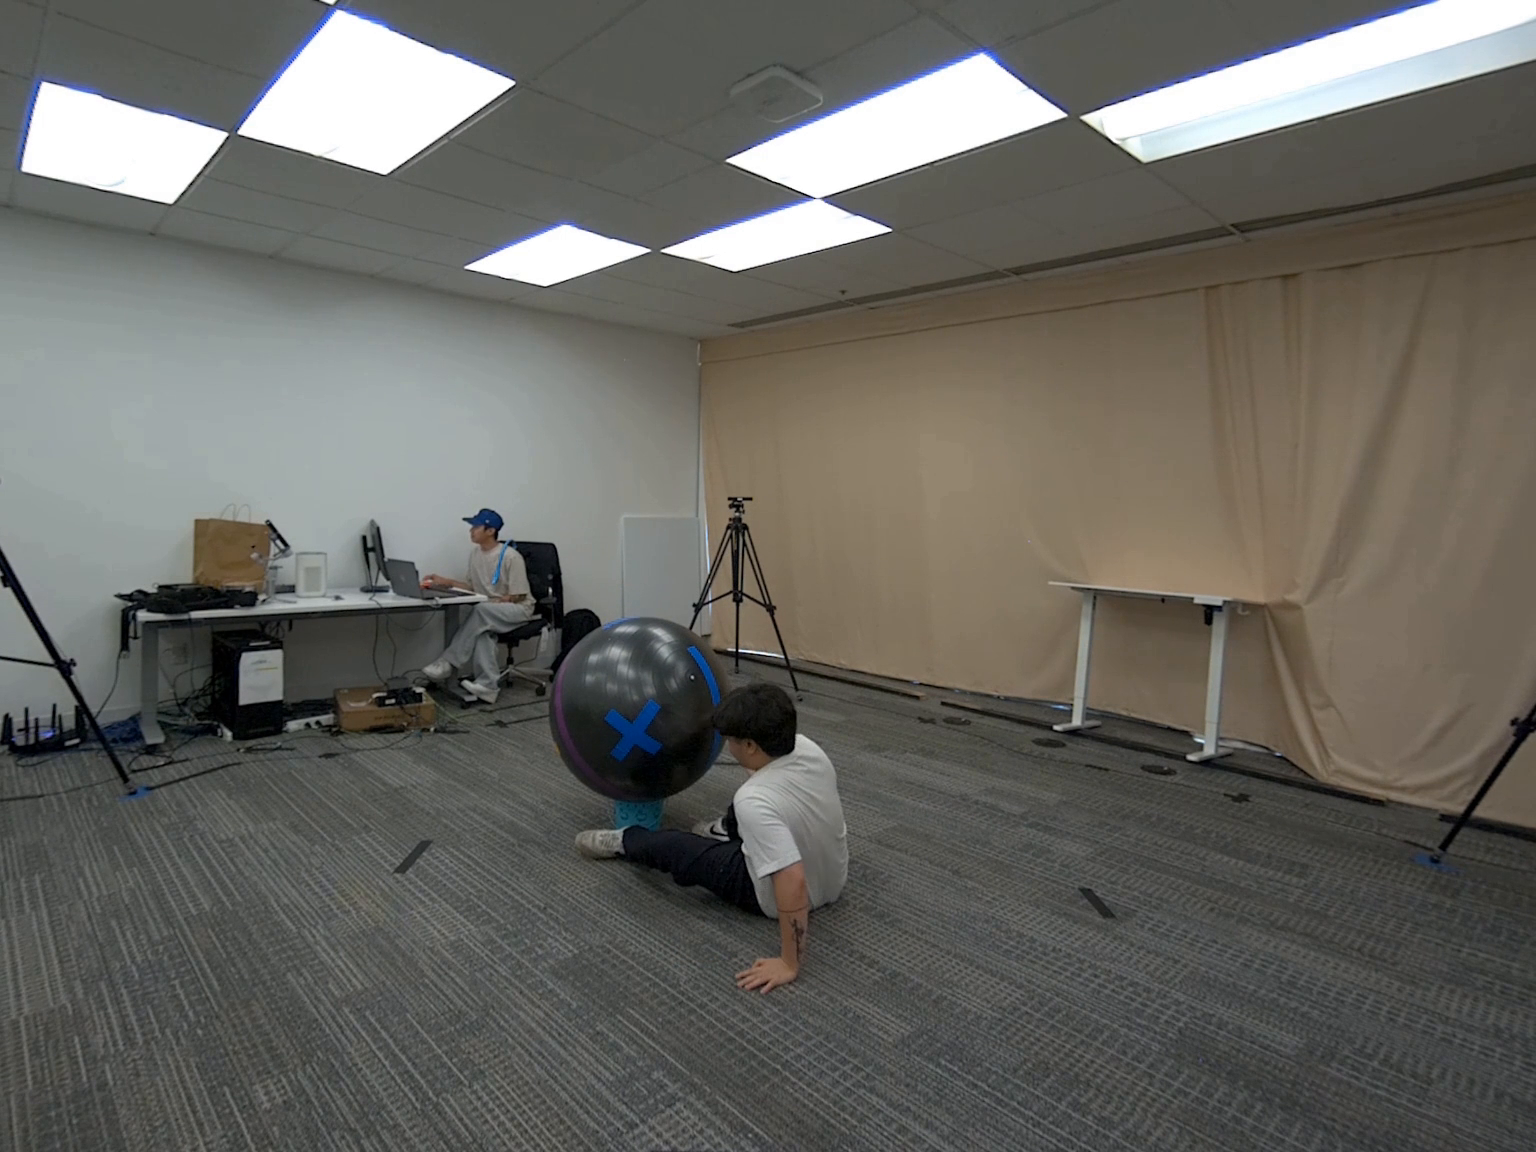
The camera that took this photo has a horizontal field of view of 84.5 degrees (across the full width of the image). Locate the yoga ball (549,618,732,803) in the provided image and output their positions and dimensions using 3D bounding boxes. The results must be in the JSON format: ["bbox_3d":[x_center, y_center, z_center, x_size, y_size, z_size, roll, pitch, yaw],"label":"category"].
[{"bbox_3d":[-0.530,0.553,3.511,0.757,0.756,0.760,1,4,-1],"label":"yoga ball"}]
